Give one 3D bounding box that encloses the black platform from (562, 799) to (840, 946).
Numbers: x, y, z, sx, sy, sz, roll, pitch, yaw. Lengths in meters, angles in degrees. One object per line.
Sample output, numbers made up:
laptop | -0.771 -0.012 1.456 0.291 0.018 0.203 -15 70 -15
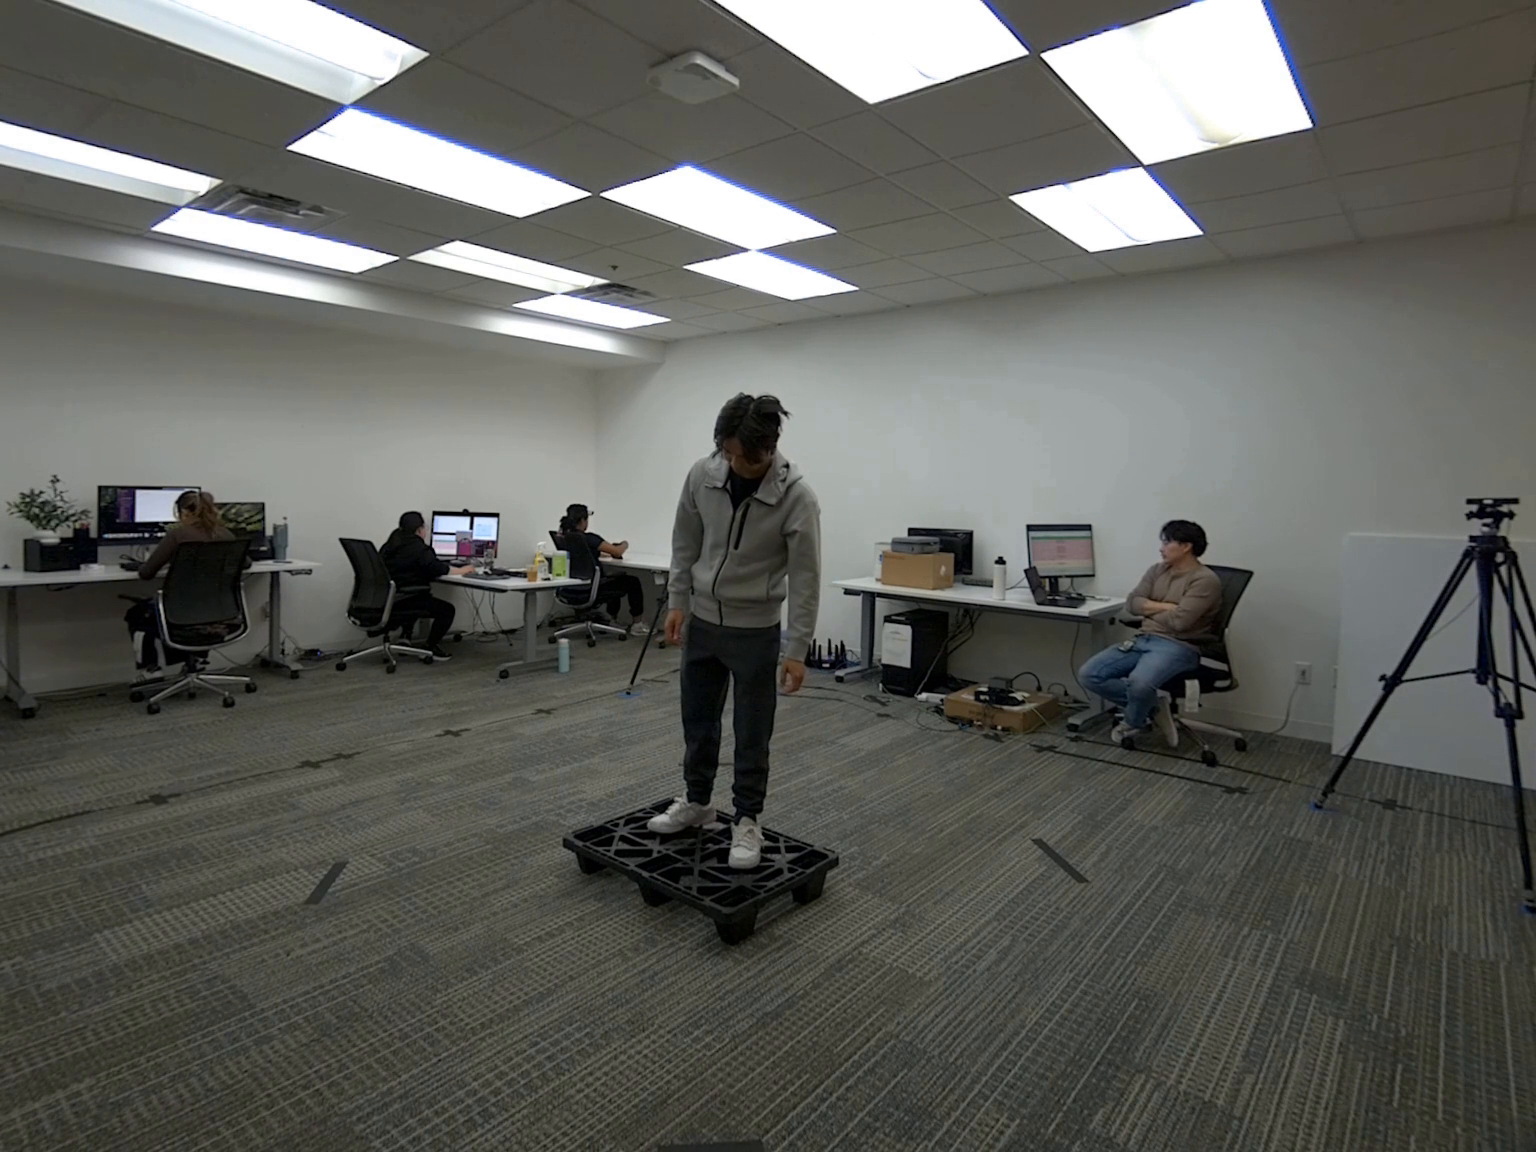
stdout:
black platform | -0.254 1.007 3.000 0.833 0.143 0.587 6 7 40
